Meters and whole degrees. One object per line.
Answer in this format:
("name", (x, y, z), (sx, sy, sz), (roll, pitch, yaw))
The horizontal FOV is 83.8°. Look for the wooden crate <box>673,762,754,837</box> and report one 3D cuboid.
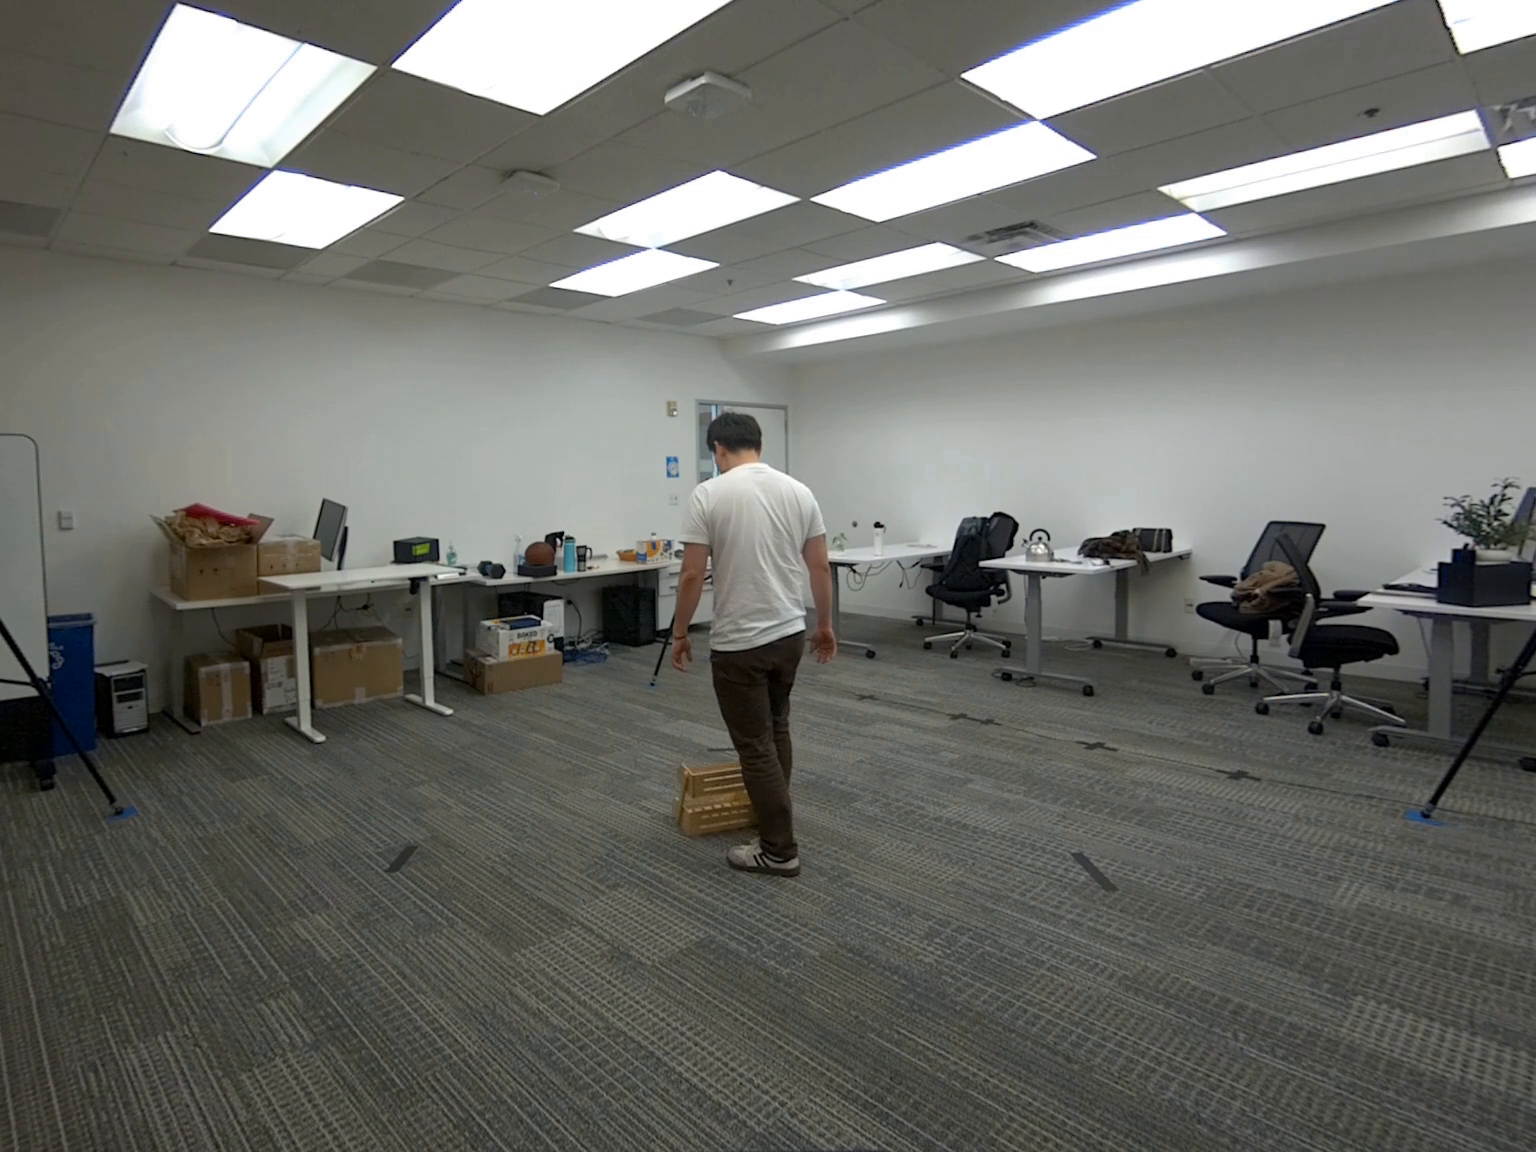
("wooden crate", (-0.209, 0.873, 3.487), (0.318, 0.272, 0.309), (-3, 5, -22))
